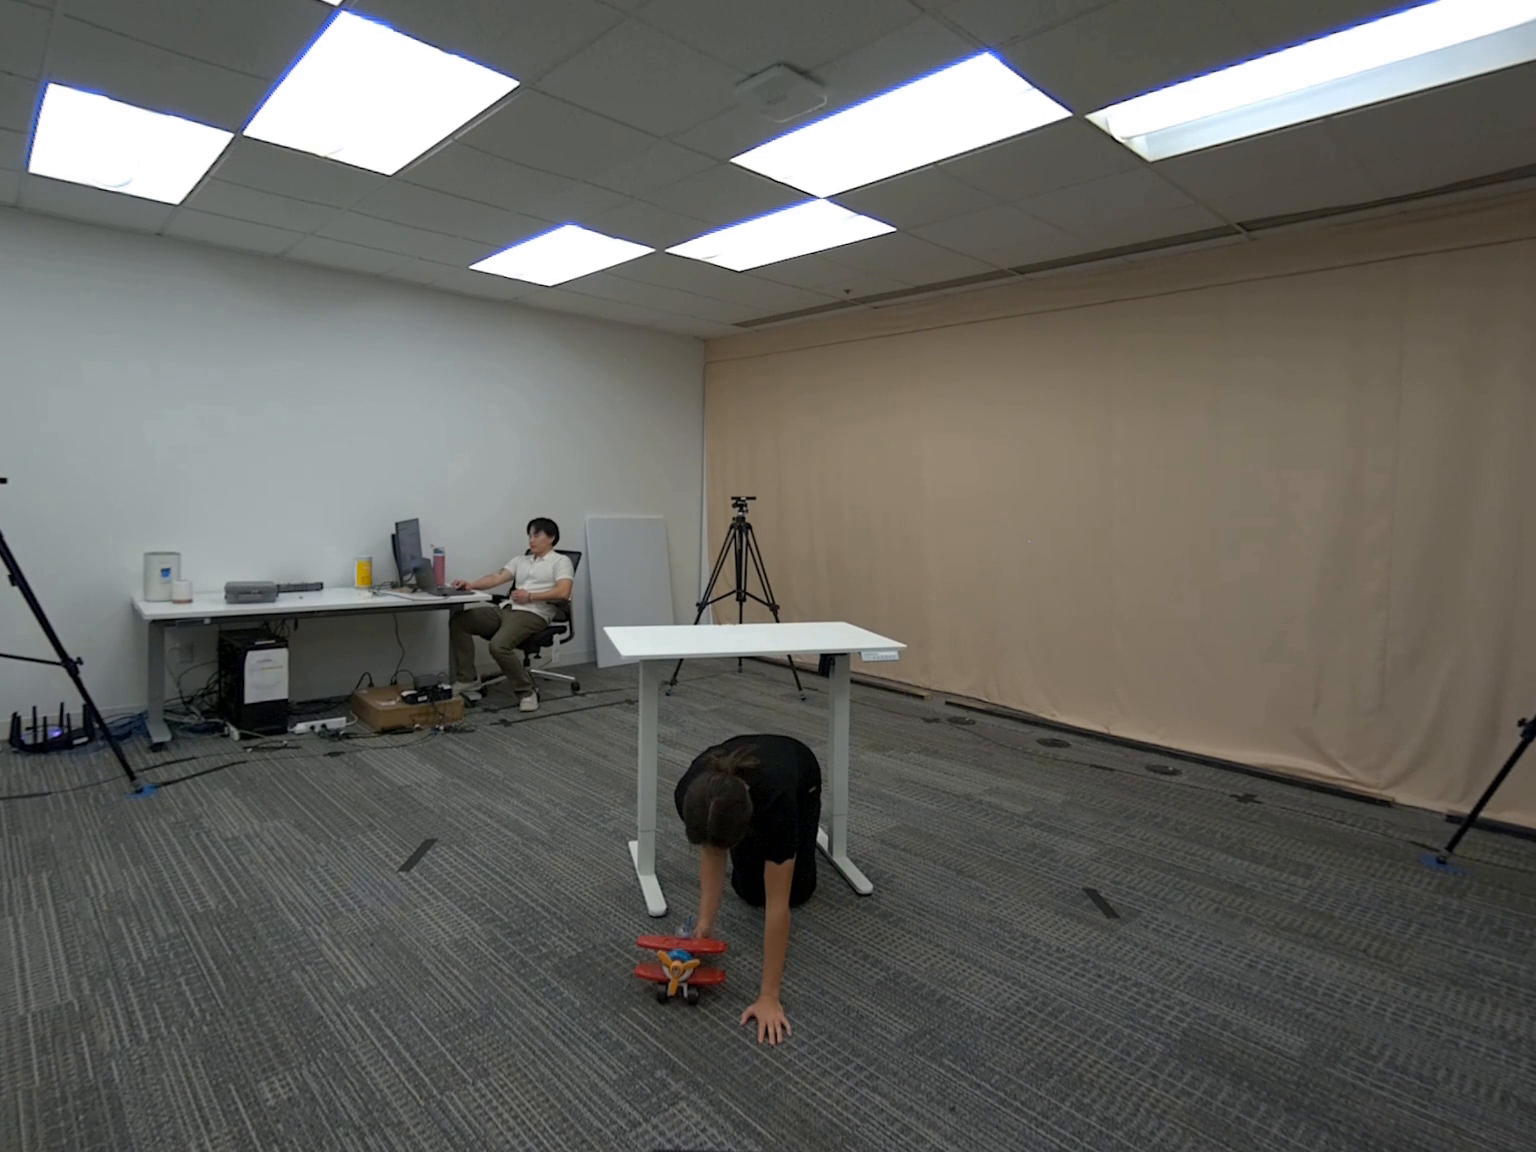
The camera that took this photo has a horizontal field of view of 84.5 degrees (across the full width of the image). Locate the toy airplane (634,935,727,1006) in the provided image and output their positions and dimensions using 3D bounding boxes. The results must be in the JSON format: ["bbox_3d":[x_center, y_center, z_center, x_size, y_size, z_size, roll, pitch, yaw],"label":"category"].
[{"bbox_3d":[-0.270,1.092,2.388,0.247,0.155,0.265,-3,10,-25],"label":"toy airplane"}]
